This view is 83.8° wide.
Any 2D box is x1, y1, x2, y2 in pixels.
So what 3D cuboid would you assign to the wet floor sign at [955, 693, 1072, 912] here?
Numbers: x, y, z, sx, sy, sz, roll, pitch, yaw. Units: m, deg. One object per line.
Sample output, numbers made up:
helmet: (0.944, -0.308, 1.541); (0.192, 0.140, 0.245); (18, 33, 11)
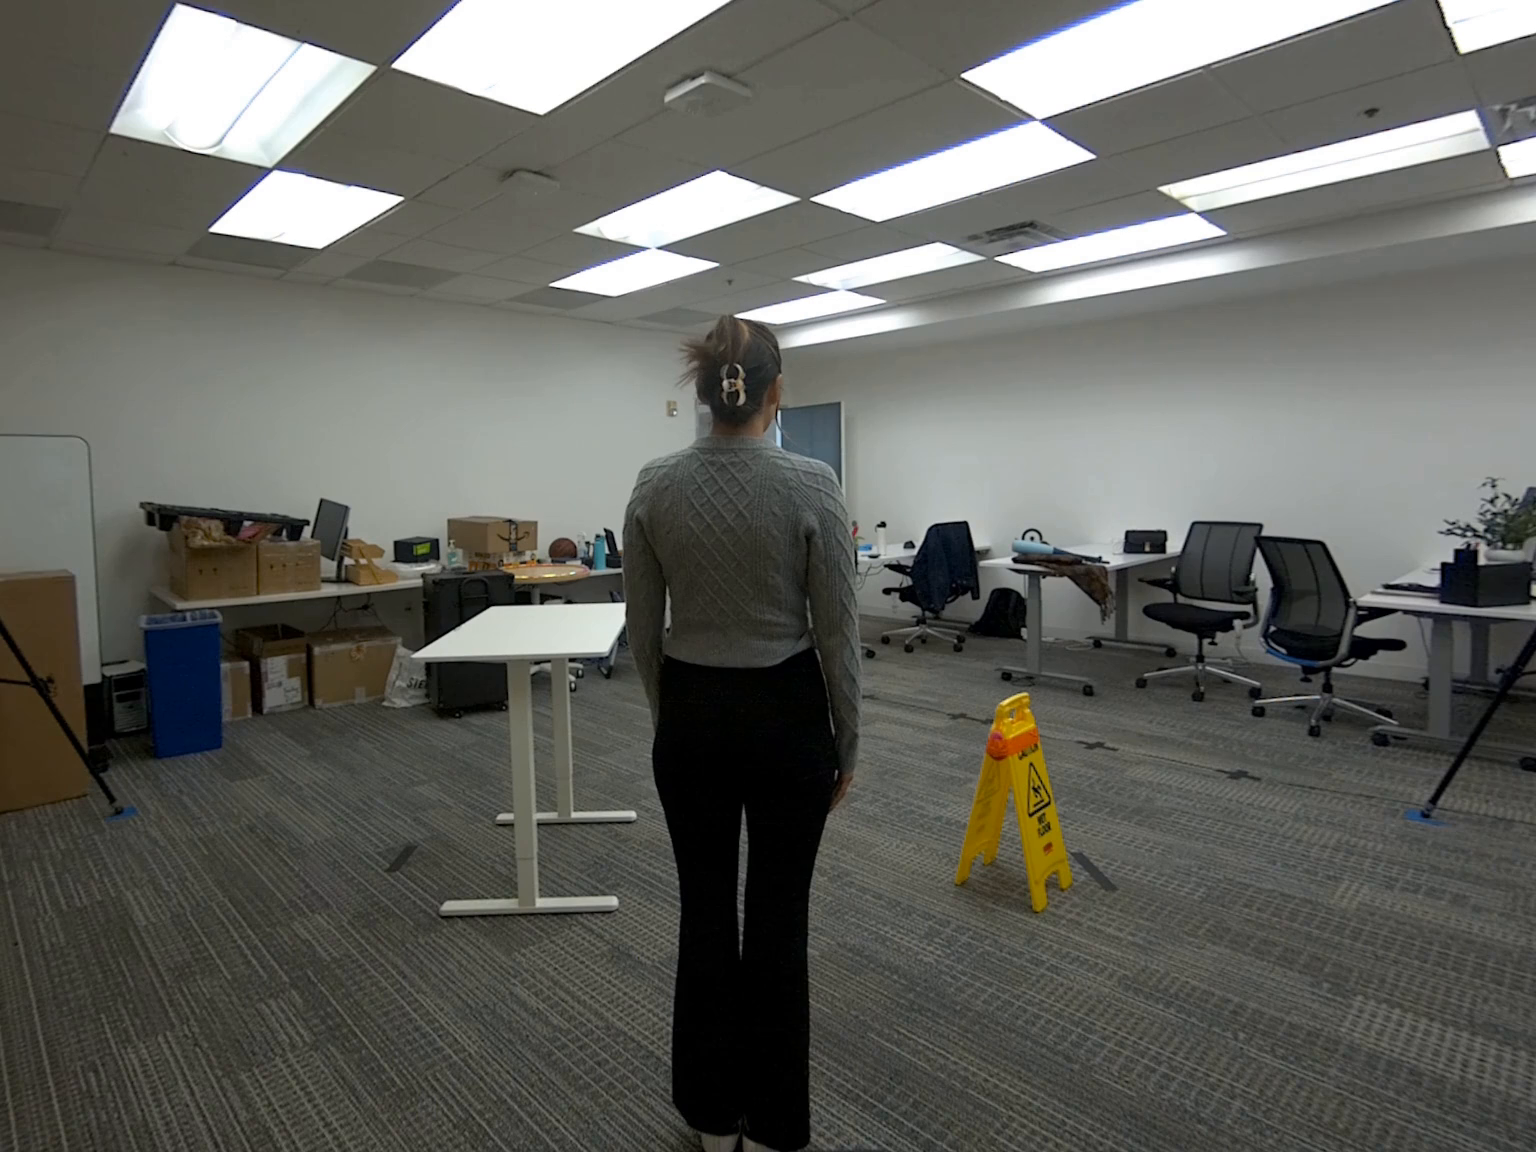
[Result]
wet floor sign: (0.838, 0.733, 2.892); (0.298, 0.643, 0.275); (3, 6, 42)
